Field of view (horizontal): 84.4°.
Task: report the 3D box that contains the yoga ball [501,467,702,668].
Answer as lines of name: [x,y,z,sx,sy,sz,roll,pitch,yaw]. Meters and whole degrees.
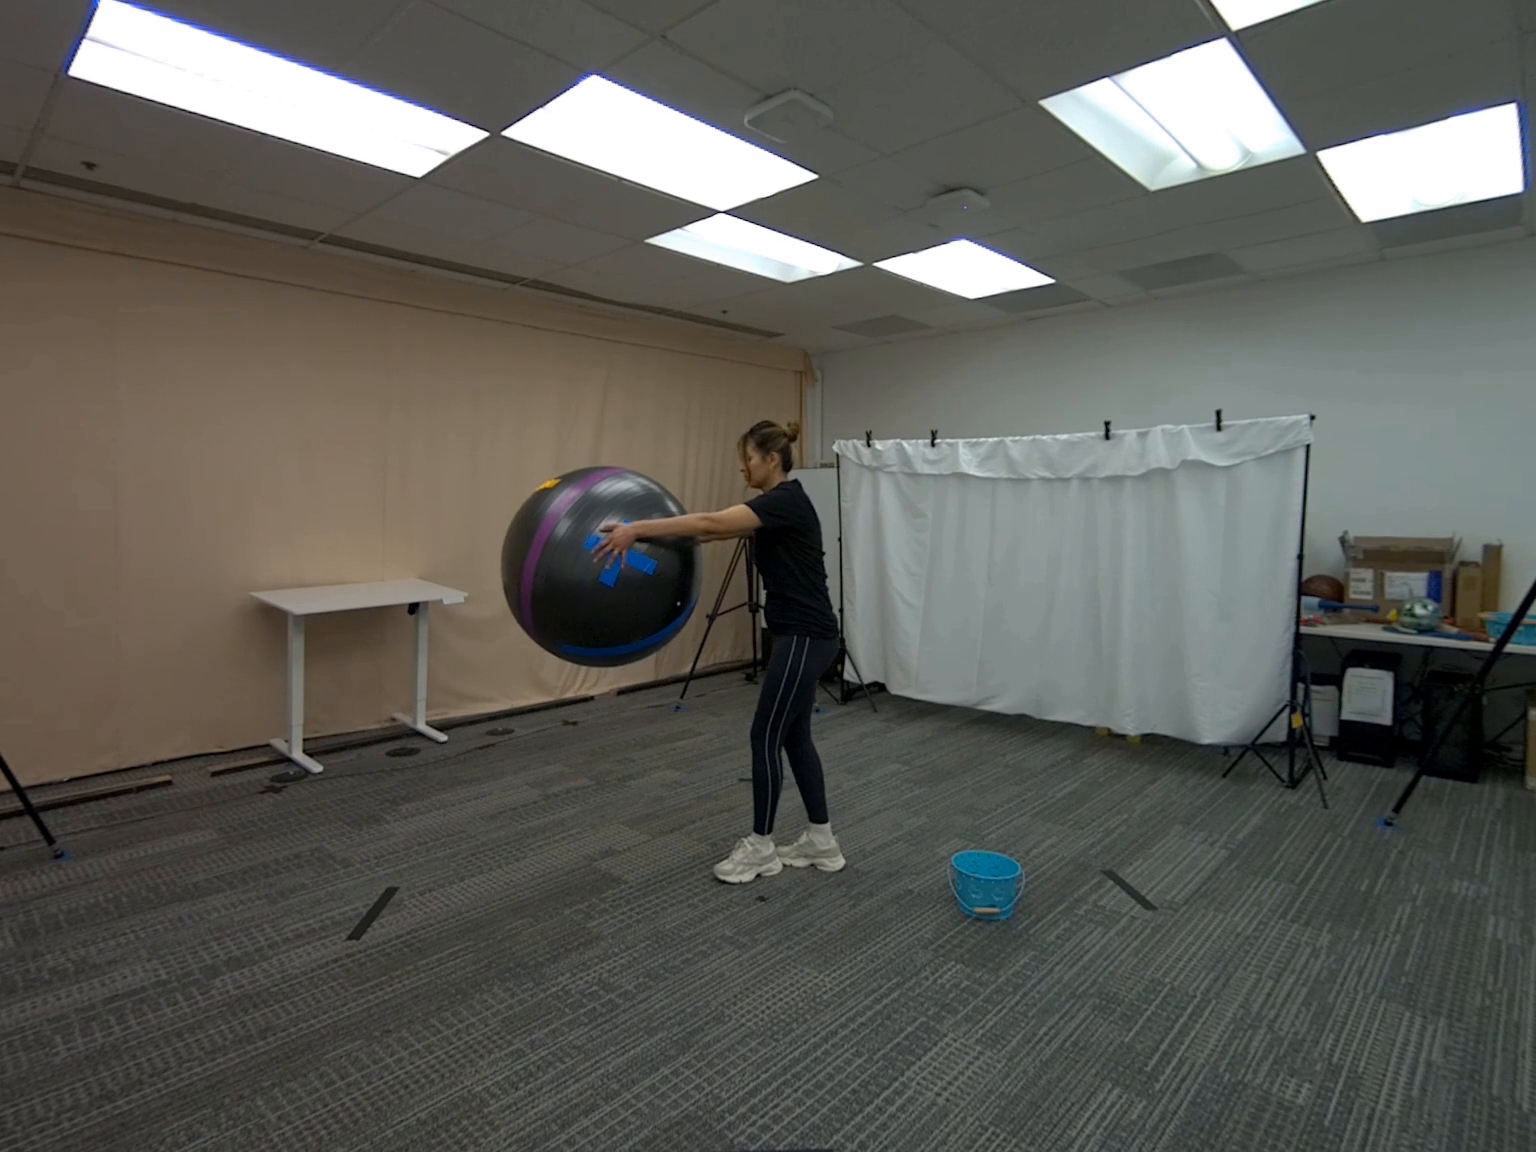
yoga ball: [-0.624,-0.022,3.188,0.757,0.756,0.761,0,4,-2]
